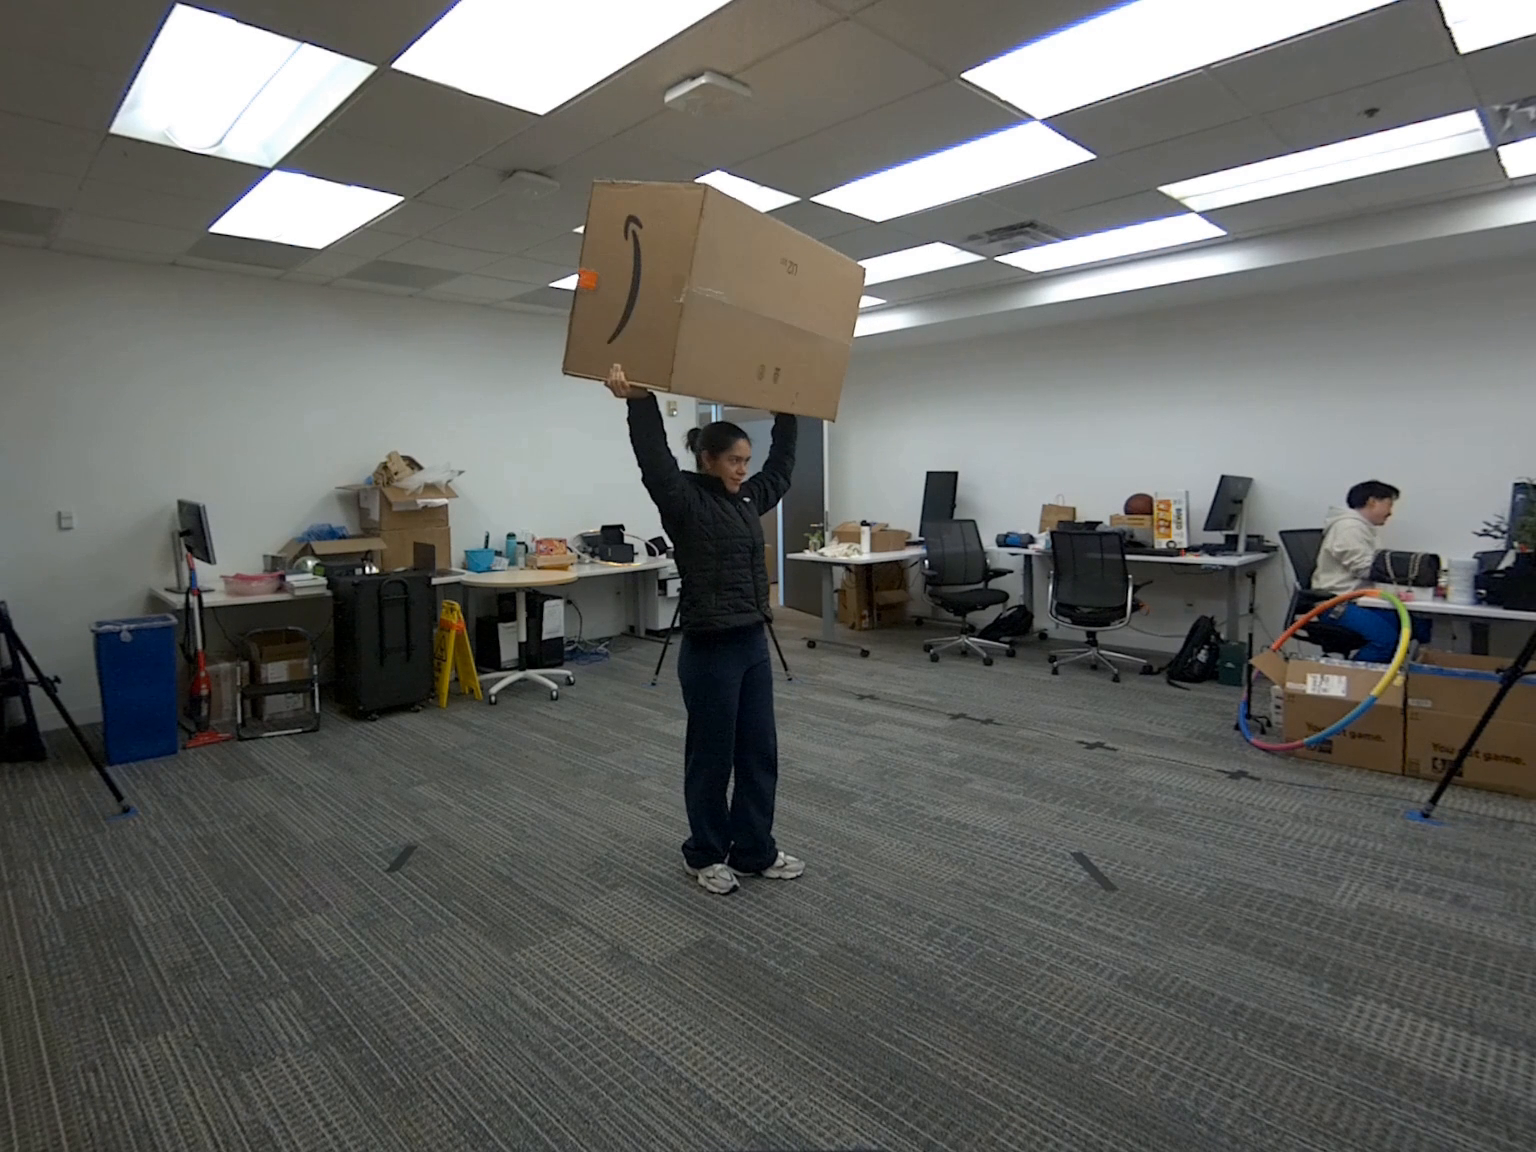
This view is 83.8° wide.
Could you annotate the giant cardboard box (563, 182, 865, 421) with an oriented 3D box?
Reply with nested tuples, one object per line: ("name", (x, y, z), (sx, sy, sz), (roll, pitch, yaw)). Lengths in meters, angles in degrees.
("giant cardboard box", (-0.131, -0.871, 2.875), (0.461, 0.580, 1.002), (16, 11, 30))
